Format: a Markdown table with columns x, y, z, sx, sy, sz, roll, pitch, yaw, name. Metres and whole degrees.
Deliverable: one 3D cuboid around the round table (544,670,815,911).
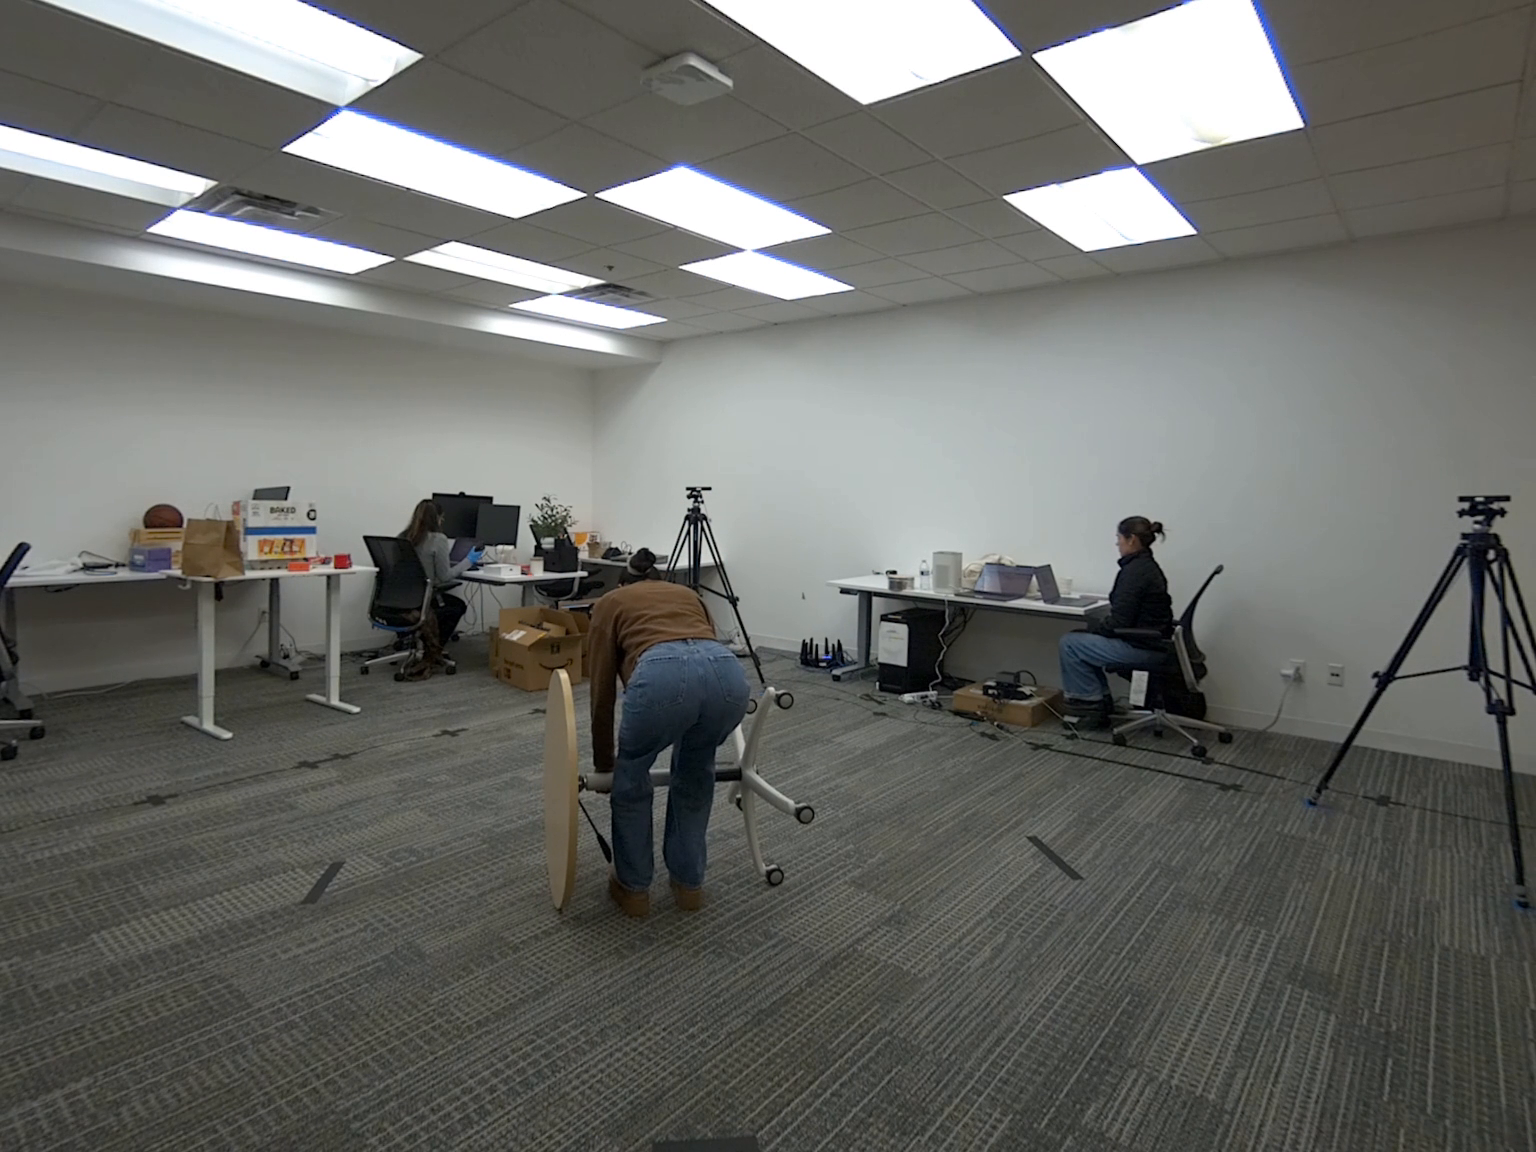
| x | y | z | sx | sy | sz | roll | pitch | yaw | name |
| --- | --- | --- | --- | --- | --- | --- | --- | --- | --- |
| -0.346 | 0.714 | 2.971 | 0.779 | 0.762 | 0.781 | 2 | 3 | -19 | round table |
